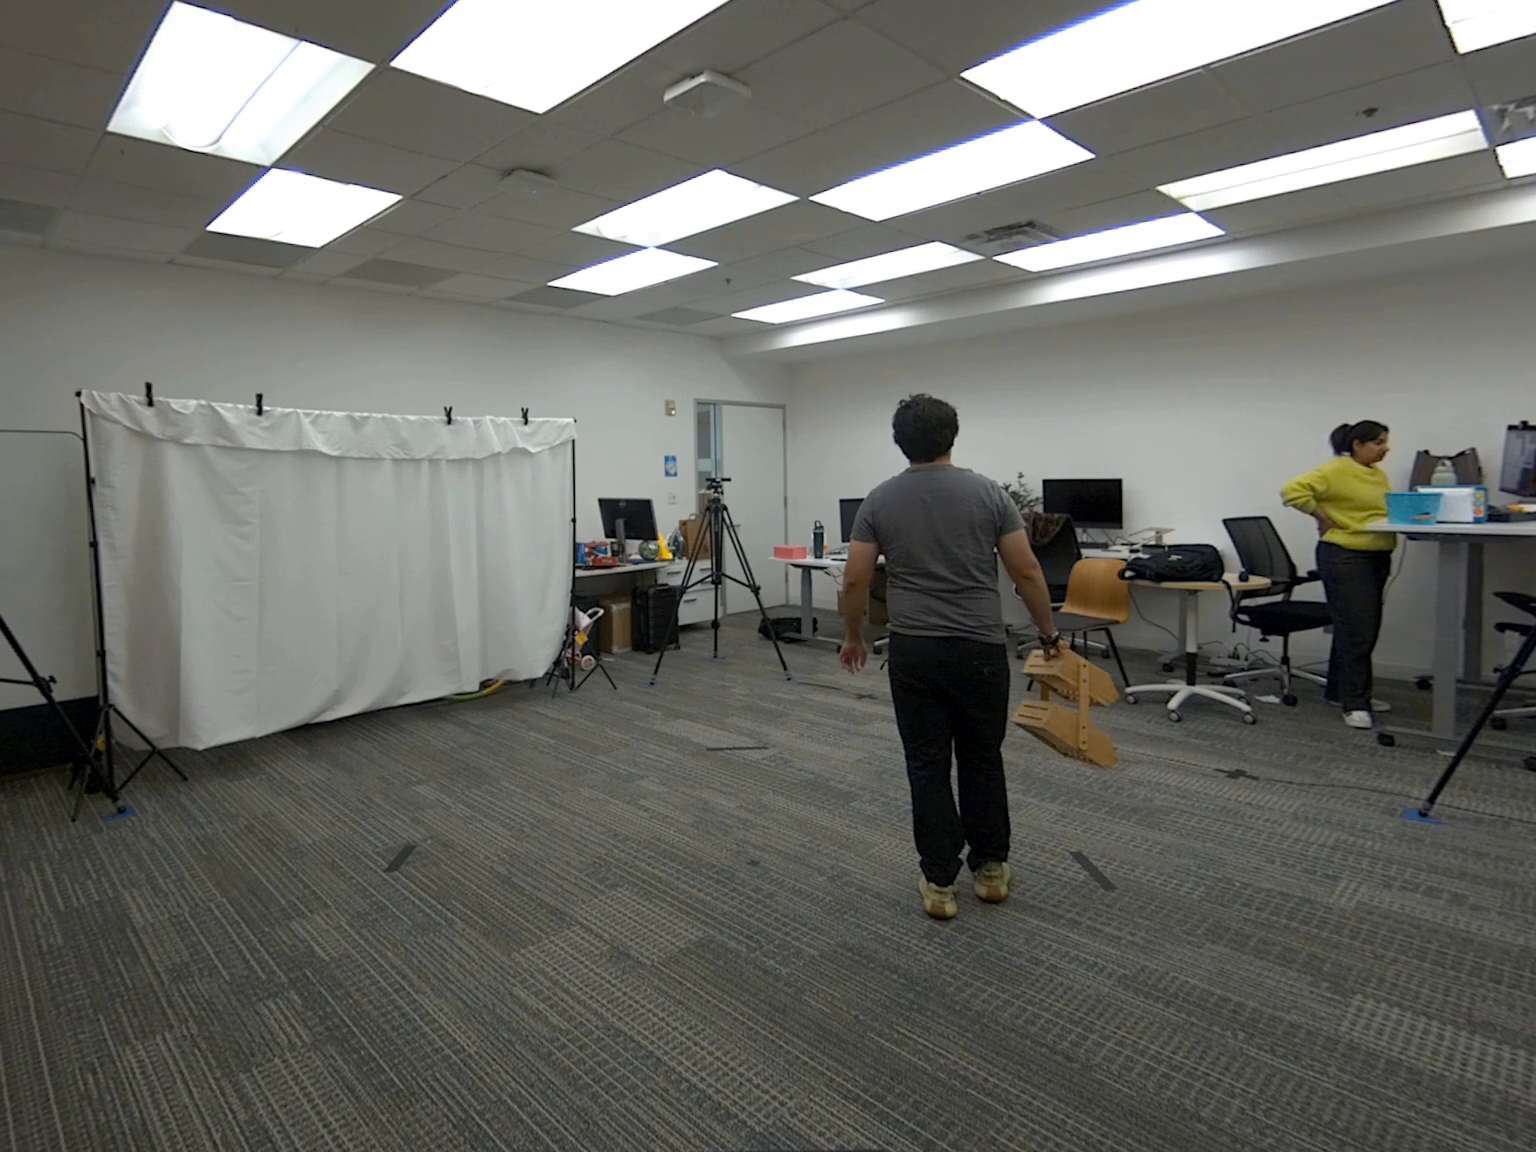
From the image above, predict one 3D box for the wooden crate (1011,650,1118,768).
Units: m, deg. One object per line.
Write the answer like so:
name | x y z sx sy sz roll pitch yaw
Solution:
wooden crate | 1.012 0.435 2.857 0.303 0.274 0.323 33 -8 0
